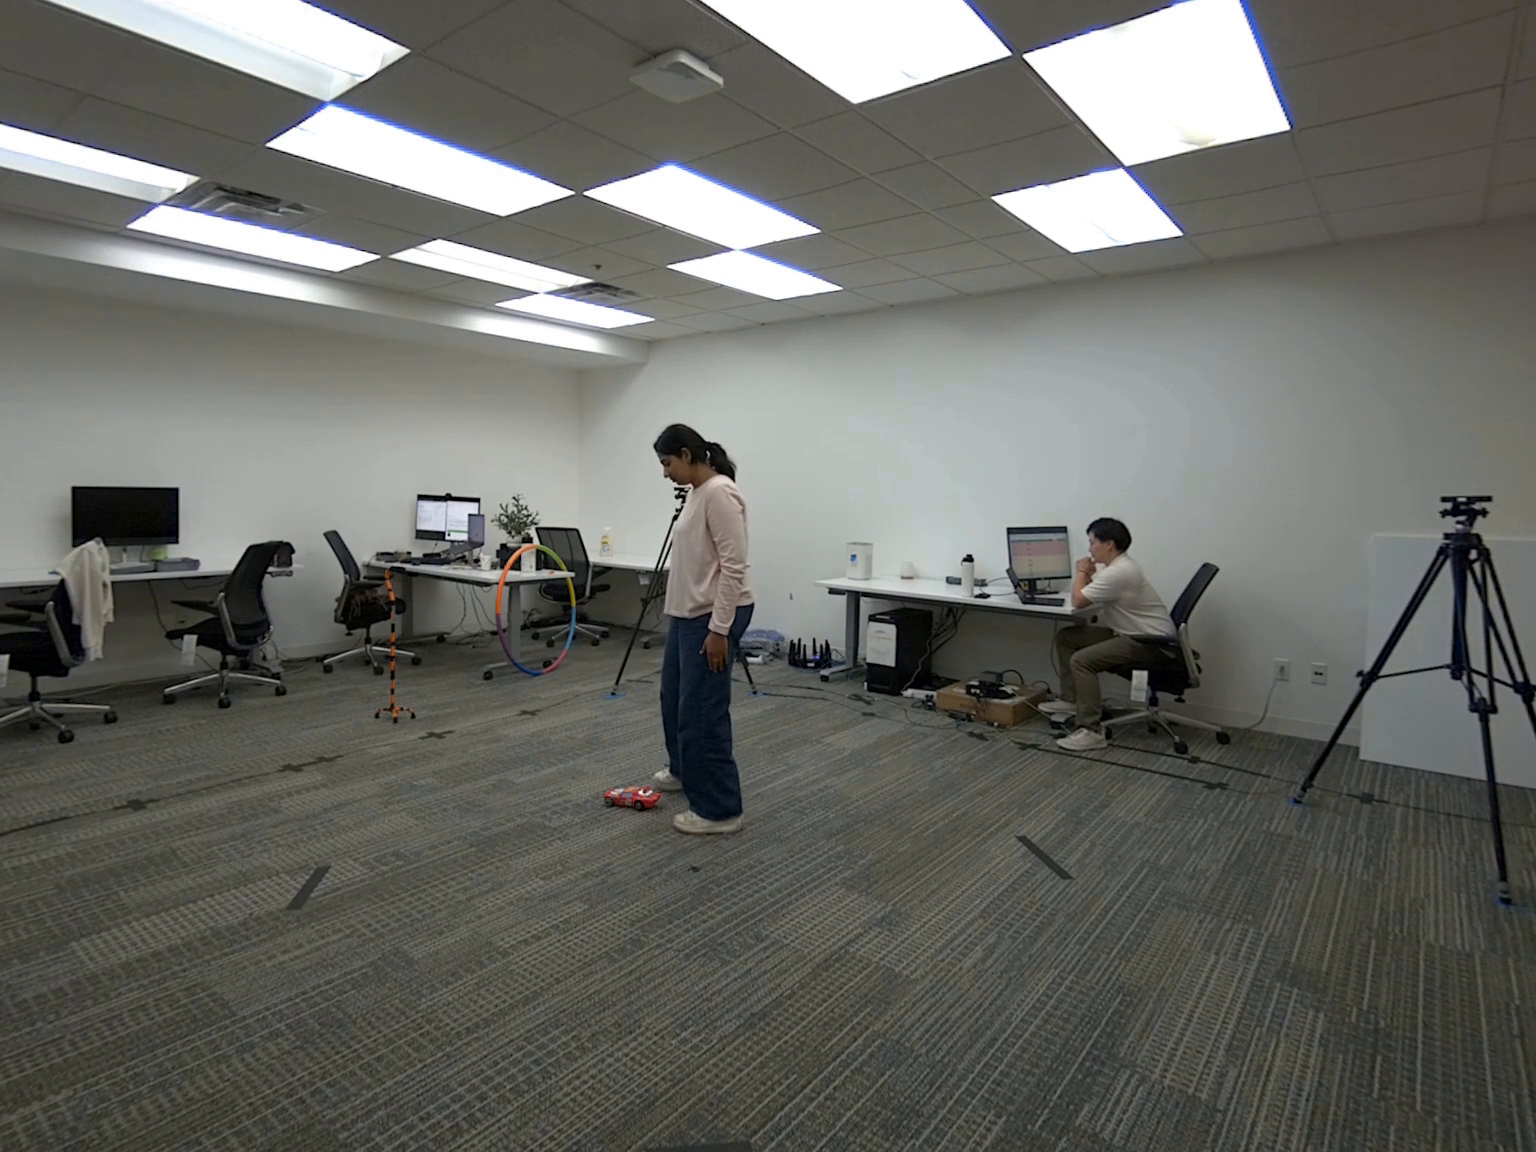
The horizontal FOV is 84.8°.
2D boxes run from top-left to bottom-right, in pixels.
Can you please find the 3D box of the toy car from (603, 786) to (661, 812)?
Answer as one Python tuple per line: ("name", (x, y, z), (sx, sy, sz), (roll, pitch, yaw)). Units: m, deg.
("toy car", (-0.602, 0.970, 3.727), (0.259, 0.083, 0.128), (-9, 1, 19))
